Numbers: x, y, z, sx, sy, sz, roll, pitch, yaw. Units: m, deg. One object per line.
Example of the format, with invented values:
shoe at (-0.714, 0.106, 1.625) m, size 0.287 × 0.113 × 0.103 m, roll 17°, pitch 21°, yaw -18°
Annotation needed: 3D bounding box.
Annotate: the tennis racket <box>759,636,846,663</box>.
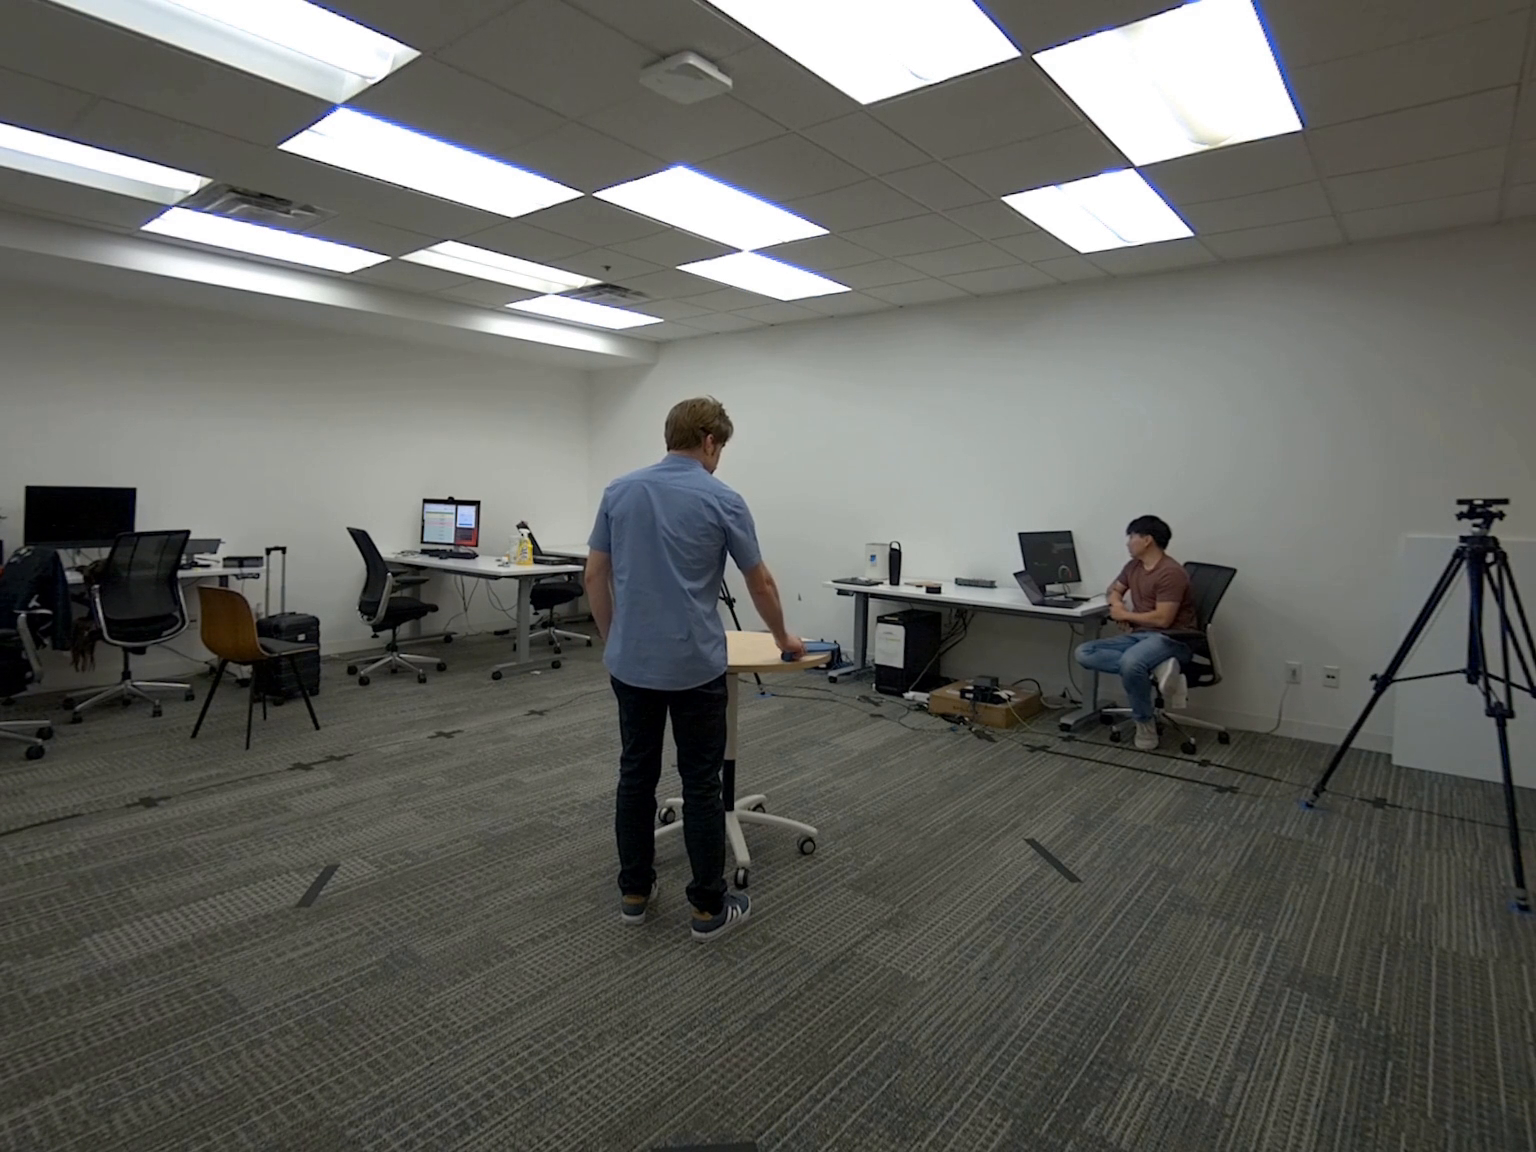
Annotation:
tennis racket at (0.137, 0.273, 3.190) m, size 0.218 × 0.032 × 0.425 m, roll 0°, pitch 3°, yaw 19°
